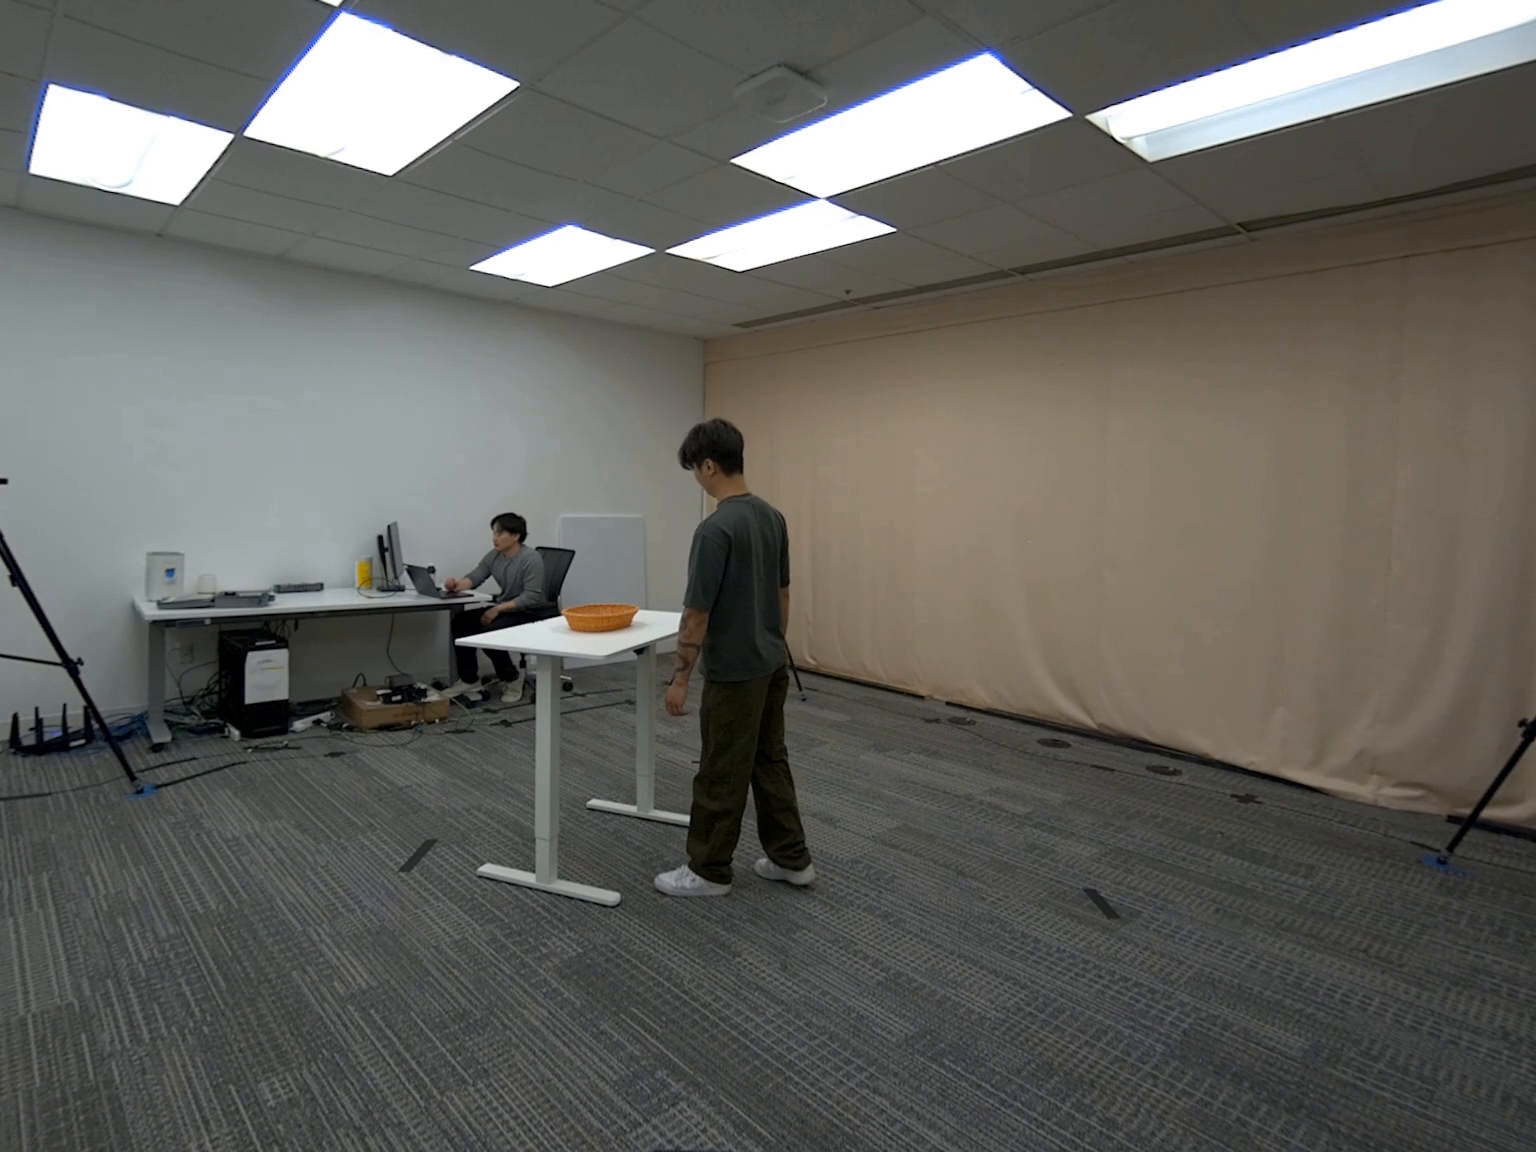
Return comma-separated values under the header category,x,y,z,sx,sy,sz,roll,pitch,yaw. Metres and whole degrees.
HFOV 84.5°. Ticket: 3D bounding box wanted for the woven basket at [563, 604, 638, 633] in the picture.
category,x,y,z,sx,sy,sz,roll,pitch,yaw
woven basket,-0.659,0.166,3.273,0.257,0.073,0.344,3,5,26
